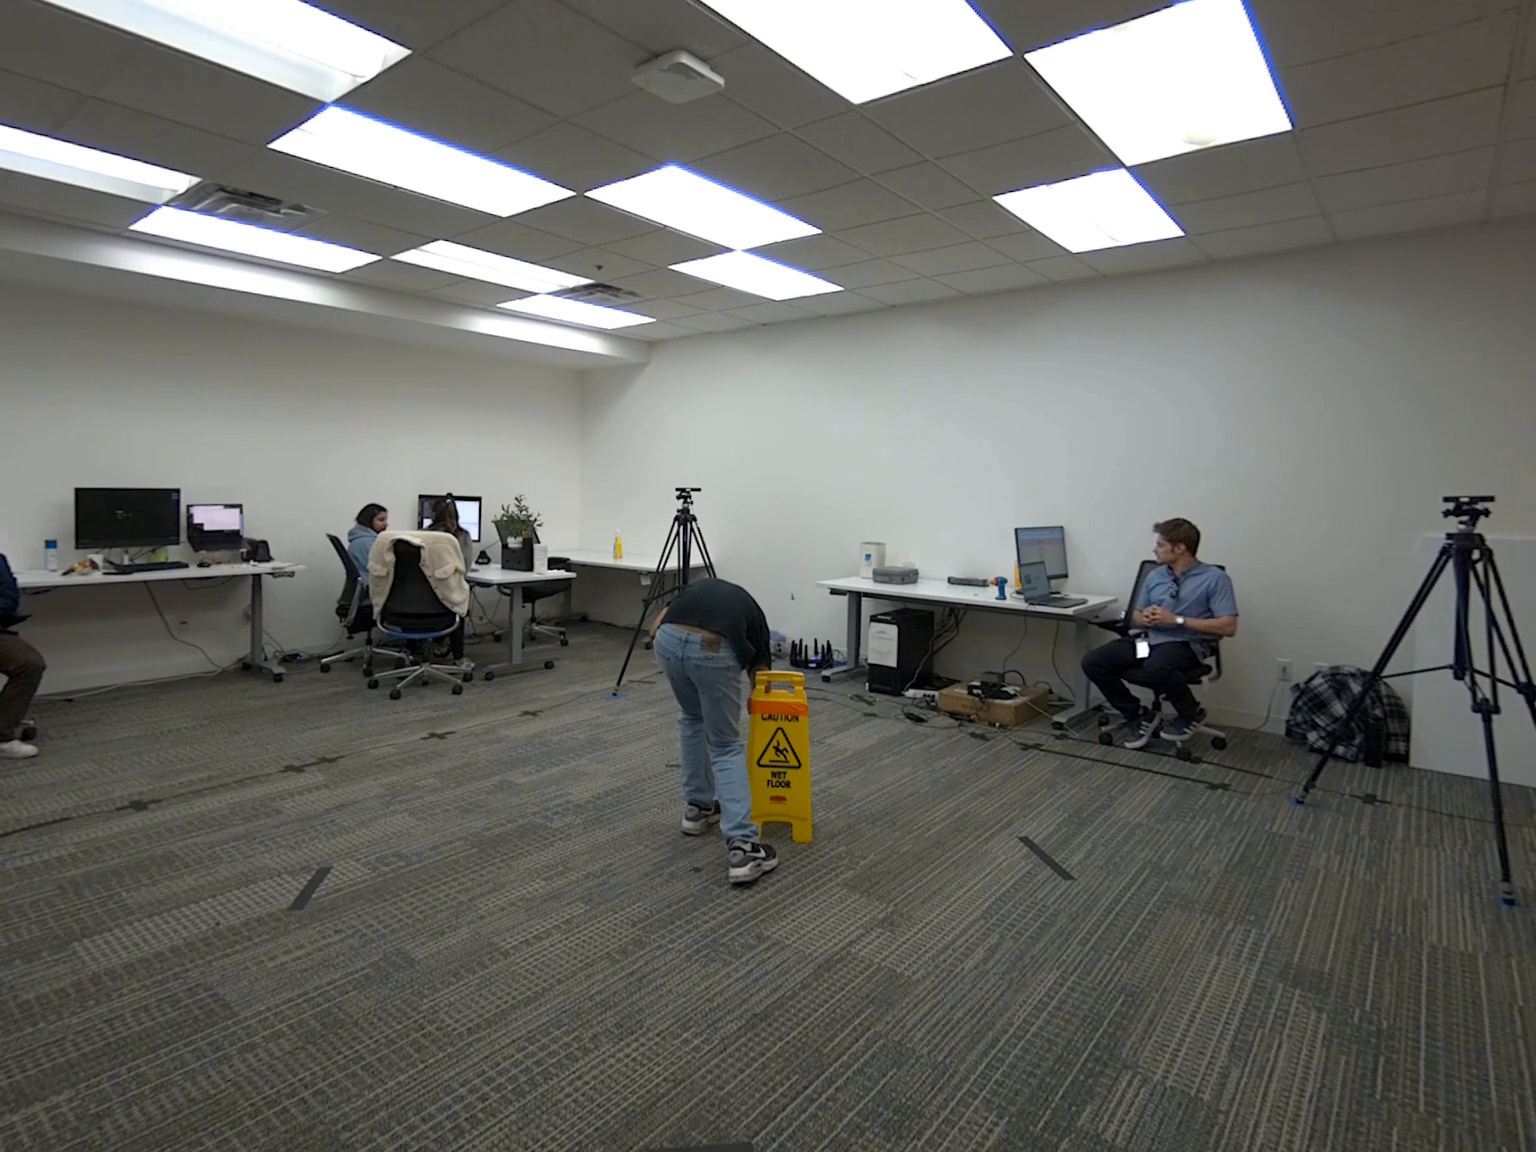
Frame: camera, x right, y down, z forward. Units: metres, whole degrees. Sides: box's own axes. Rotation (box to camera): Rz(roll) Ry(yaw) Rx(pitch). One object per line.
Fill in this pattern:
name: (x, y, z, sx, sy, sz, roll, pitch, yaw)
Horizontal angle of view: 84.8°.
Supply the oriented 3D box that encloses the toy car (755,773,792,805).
toy car: (0.021, 0.939, 3.709, 0.130, 0.085, 0.250, 1, -26, -5)
